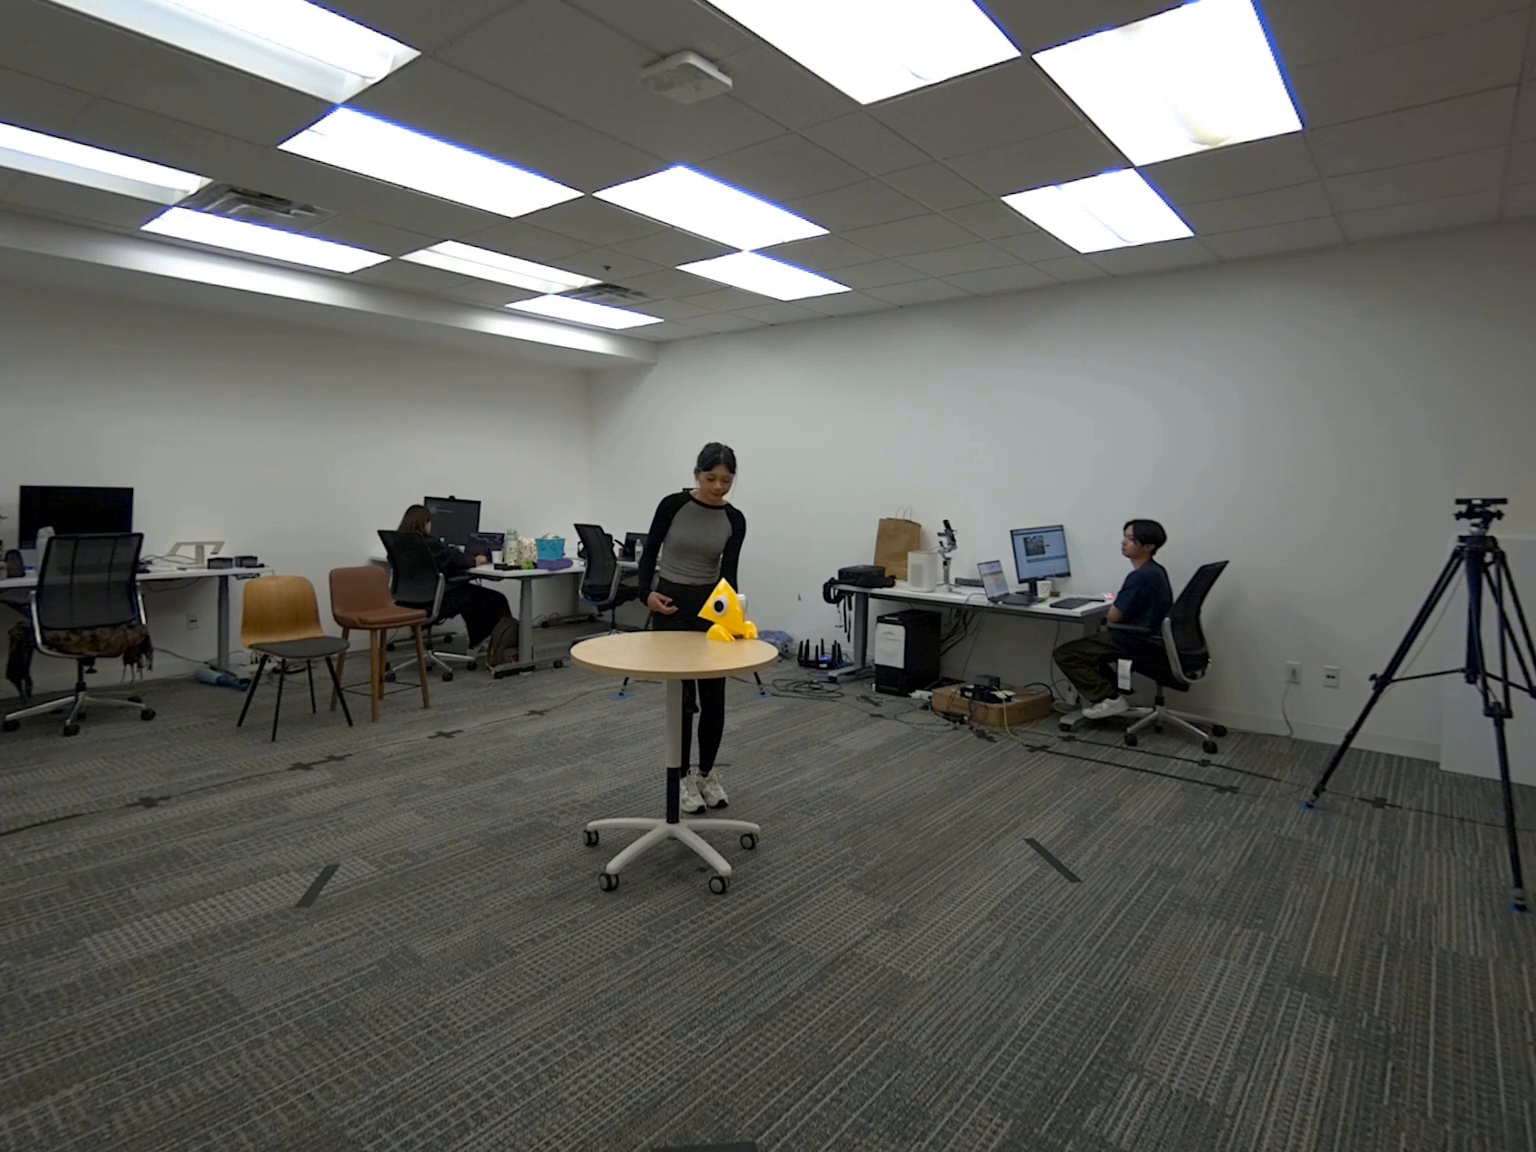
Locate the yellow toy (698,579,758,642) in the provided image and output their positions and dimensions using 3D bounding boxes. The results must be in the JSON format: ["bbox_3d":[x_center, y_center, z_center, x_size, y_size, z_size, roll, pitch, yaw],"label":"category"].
[{"bbox_3d":[-0.160,0.126,3.423,0.199,0.229,0.199,-3,7,-33],"label":"yellow toy"}]
